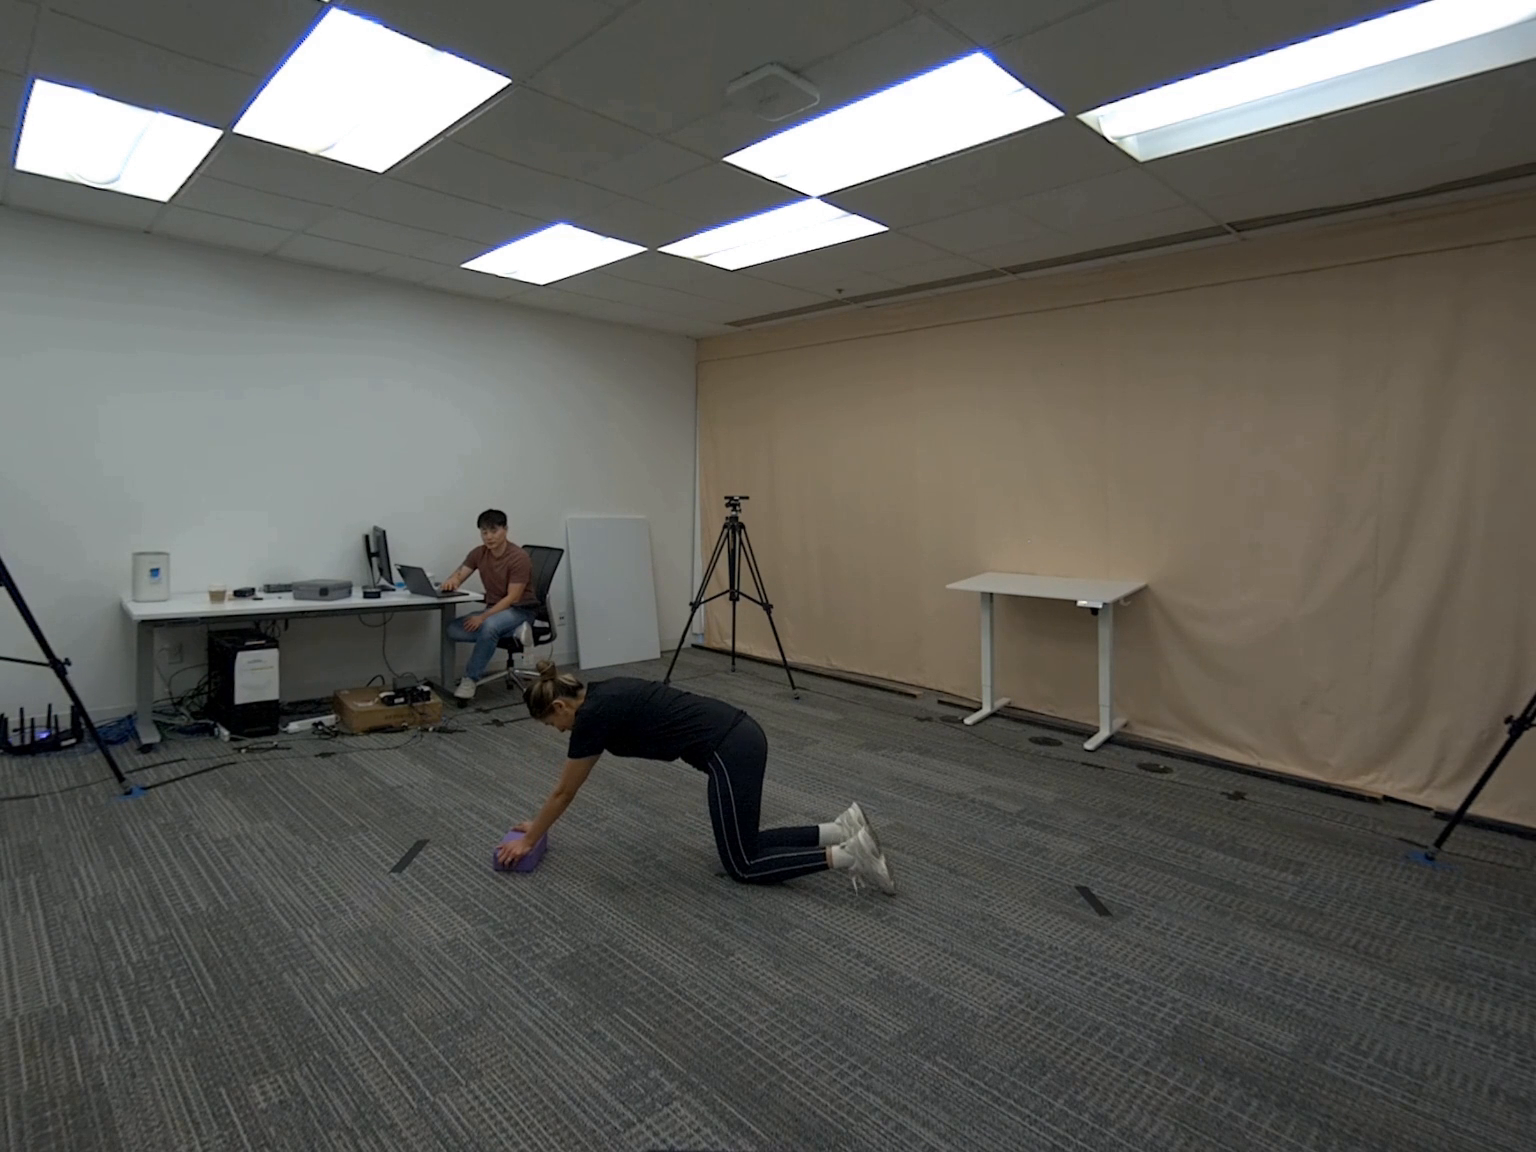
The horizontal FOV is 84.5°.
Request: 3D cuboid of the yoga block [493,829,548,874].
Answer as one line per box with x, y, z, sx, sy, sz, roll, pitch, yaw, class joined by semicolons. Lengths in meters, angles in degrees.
-0.940;1.035;3.202;0.149;0.076;0.229;1;4;1;yoga block
